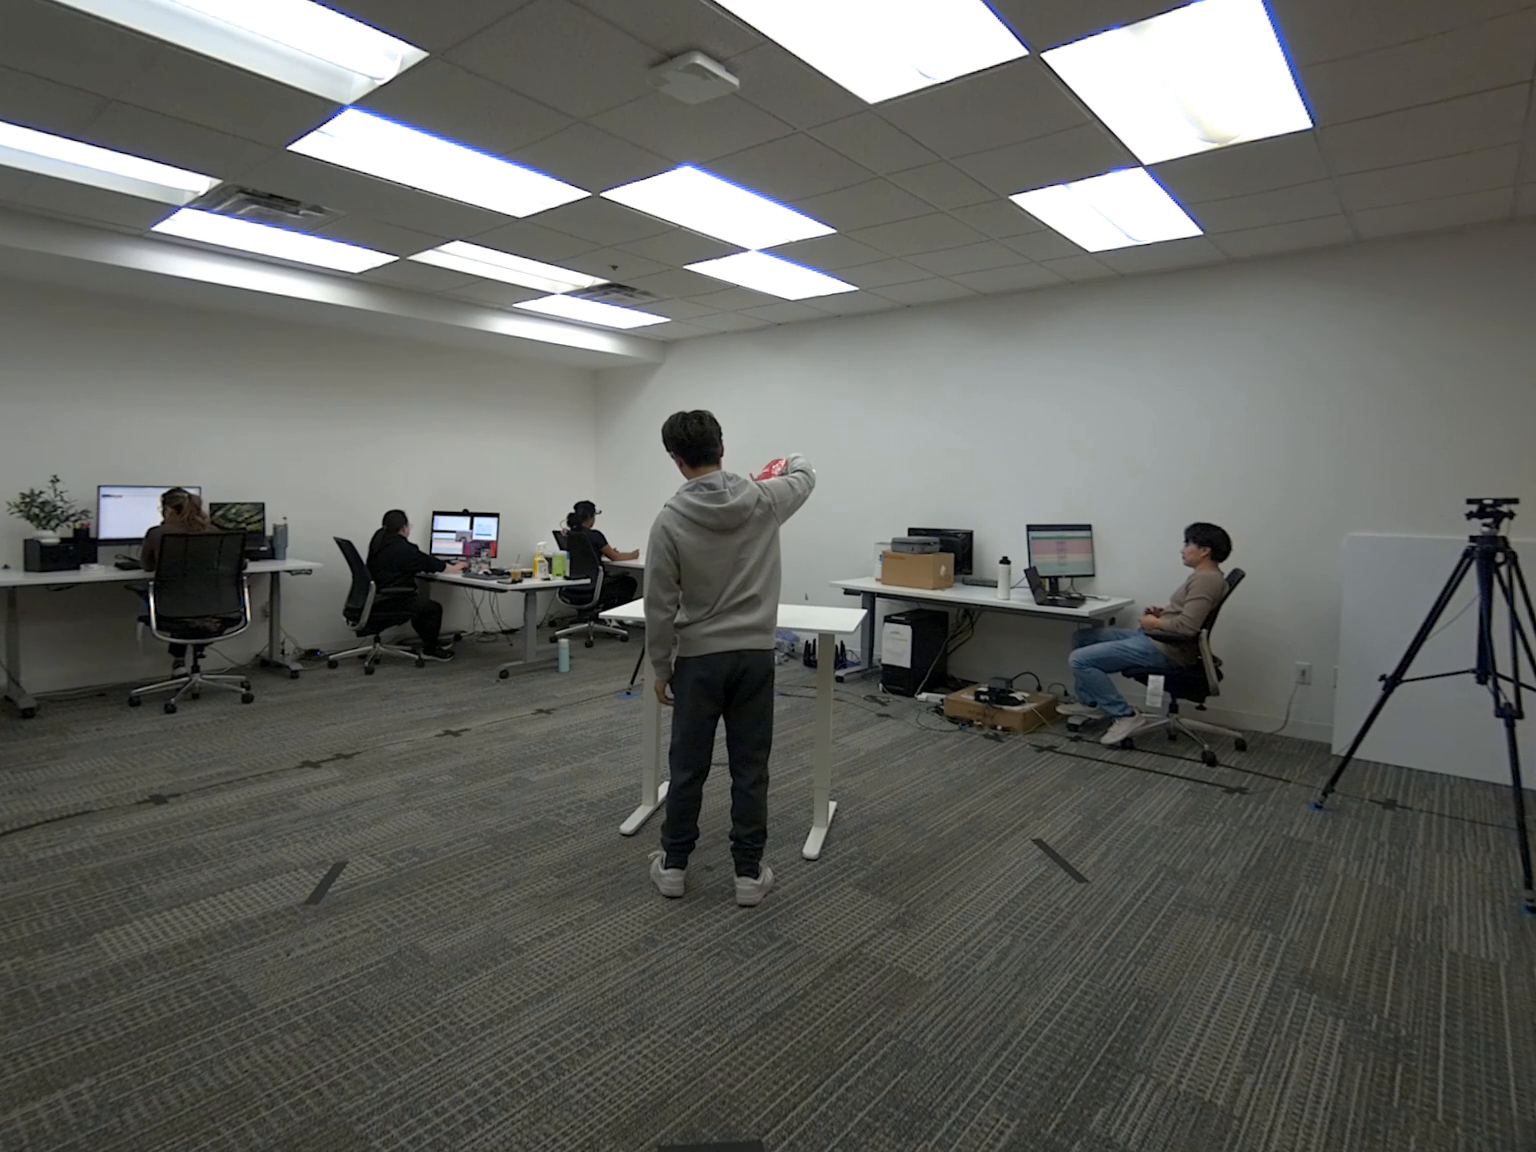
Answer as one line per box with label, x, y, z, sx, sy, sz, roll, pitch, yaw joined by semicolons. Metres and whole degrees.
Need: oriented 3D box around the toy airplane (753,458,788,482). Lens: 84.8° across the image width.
toy airplane;0.067;-0.389;3.479;0.260;0.152;0.257;-32;21;8
